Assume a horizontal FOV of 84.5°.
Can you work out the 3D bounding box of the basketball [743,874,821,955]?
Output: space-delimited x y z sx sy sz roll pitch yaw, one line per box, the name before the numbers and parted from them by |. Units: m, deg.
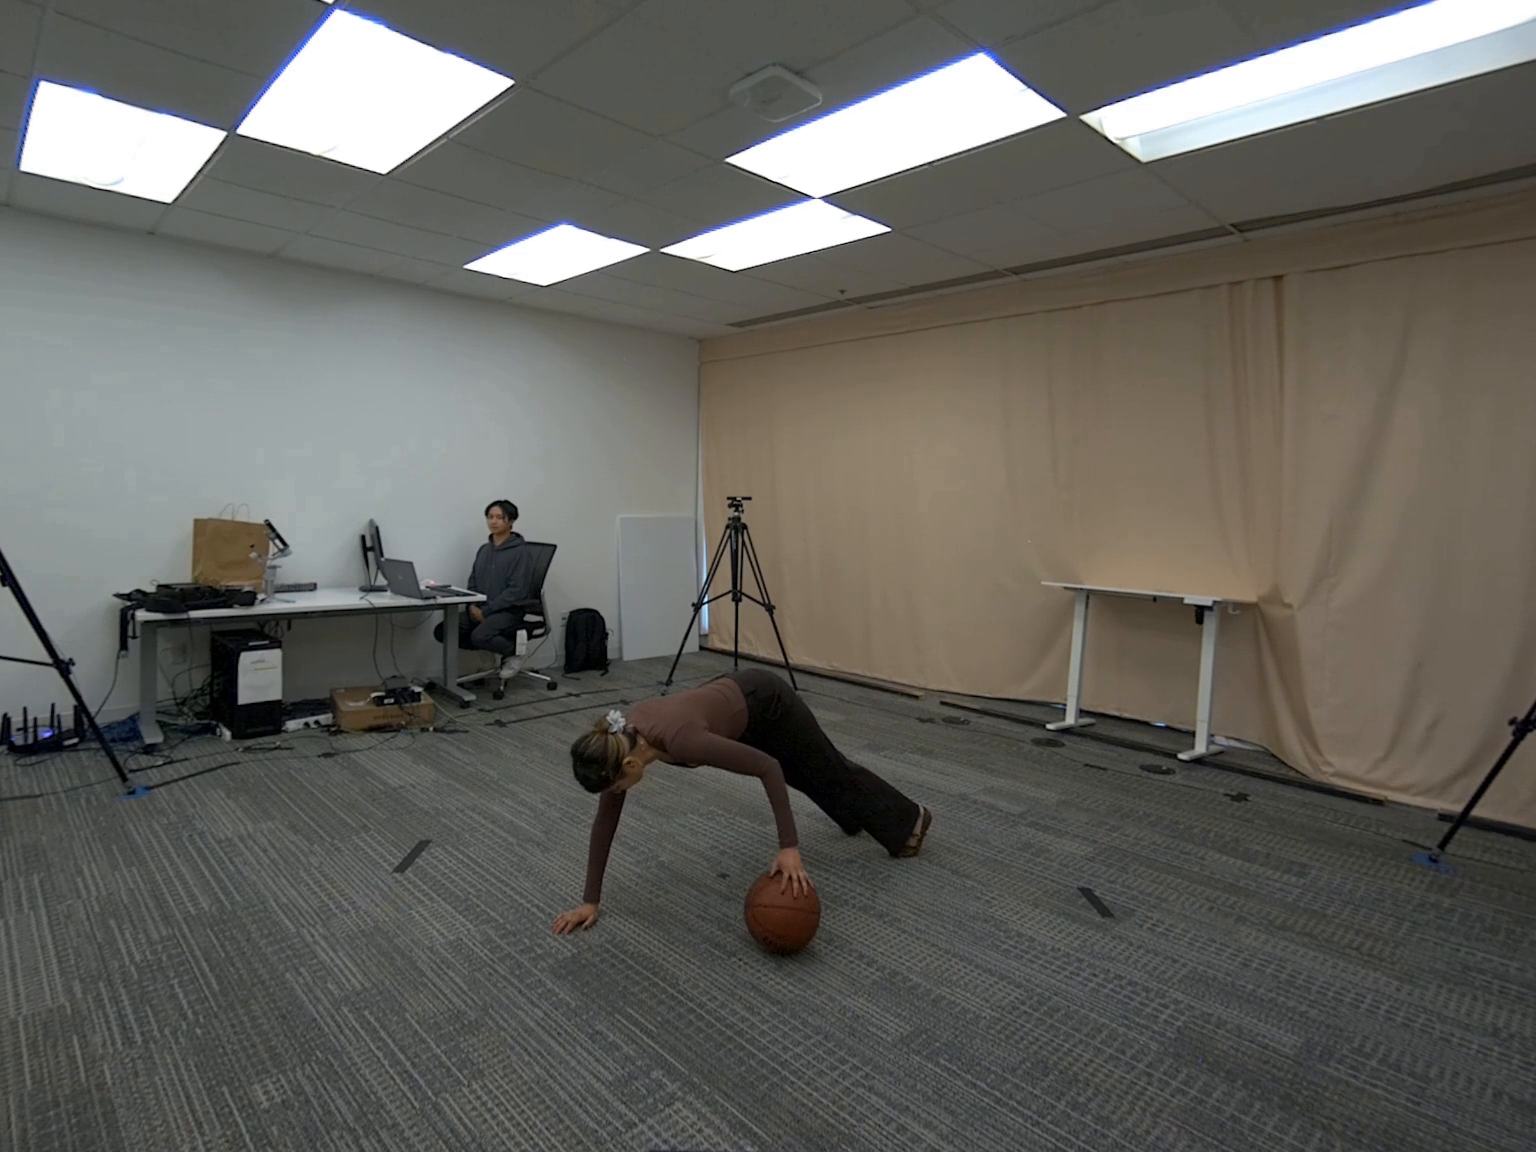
basketball | 0.031 1.037 2.611 0.236 0.235 0.237 1 4 -1
